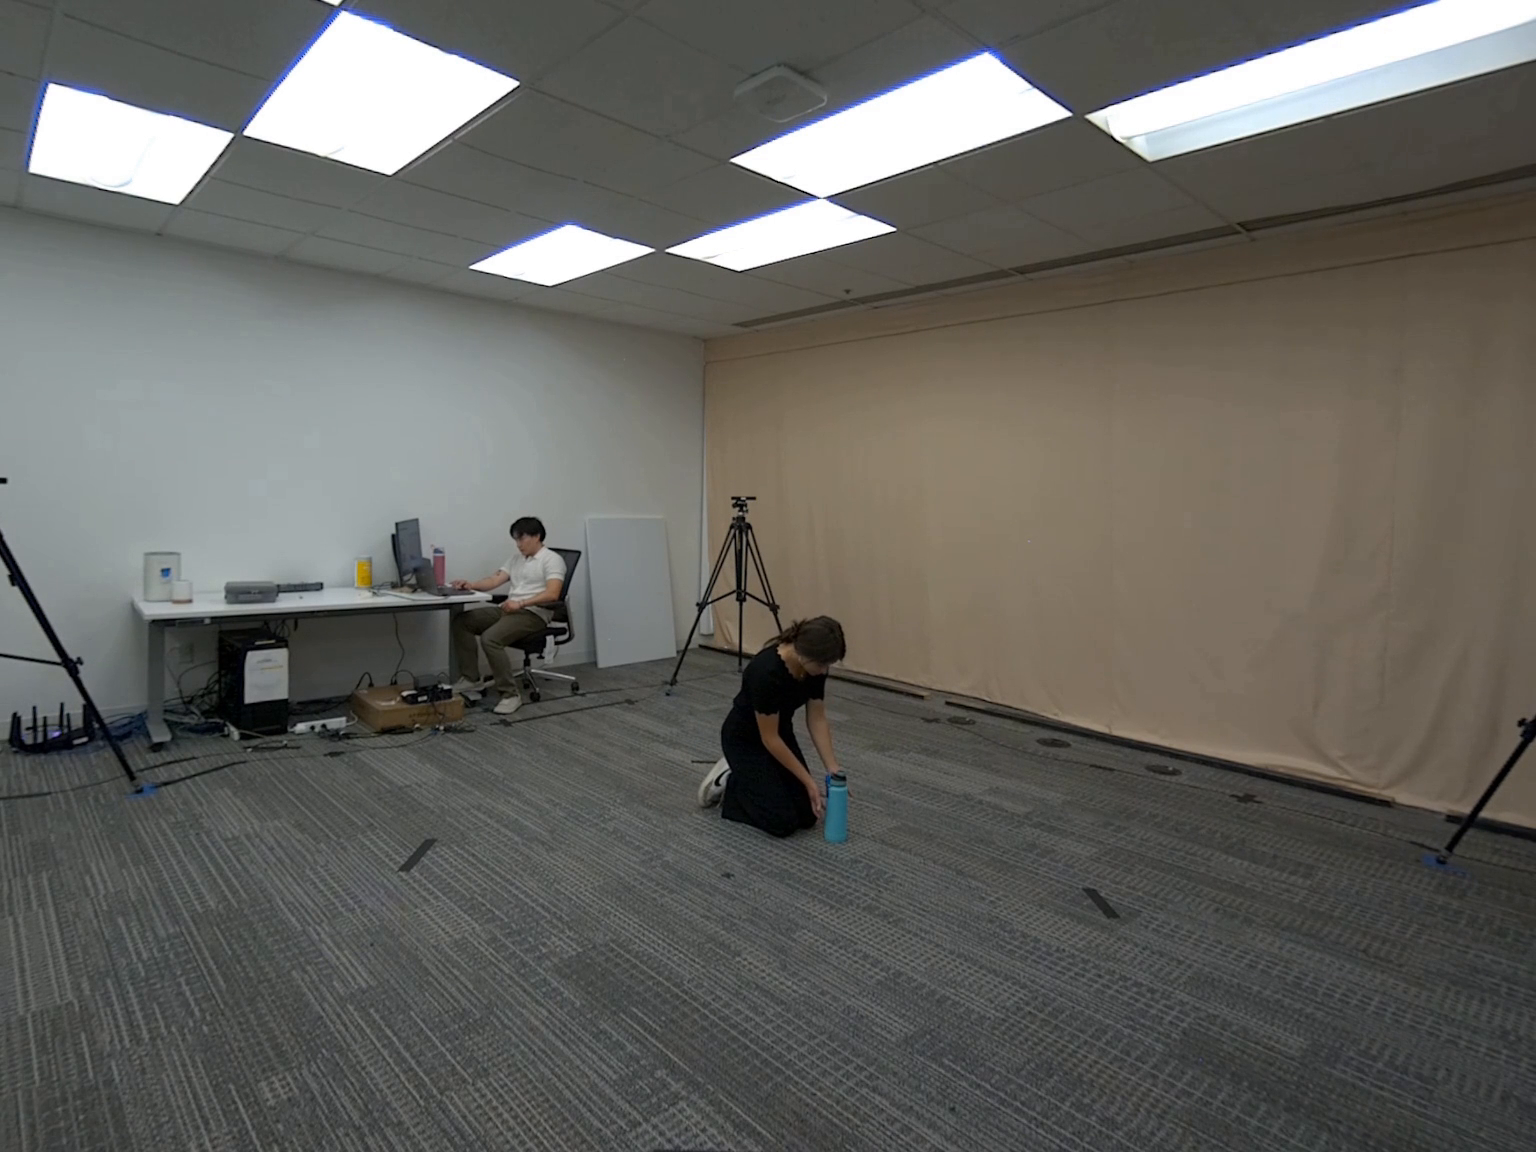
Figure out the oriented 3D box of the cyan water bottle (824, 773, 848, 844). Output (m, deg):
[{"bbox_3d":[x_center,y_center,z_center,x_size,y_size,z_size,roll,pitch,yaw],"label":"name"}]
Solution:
[{"bbox_3d":[0.266,0.946,3.467,0.092,0.283,0.092,1,3,-1],"label":"cyan water bottle"}]
